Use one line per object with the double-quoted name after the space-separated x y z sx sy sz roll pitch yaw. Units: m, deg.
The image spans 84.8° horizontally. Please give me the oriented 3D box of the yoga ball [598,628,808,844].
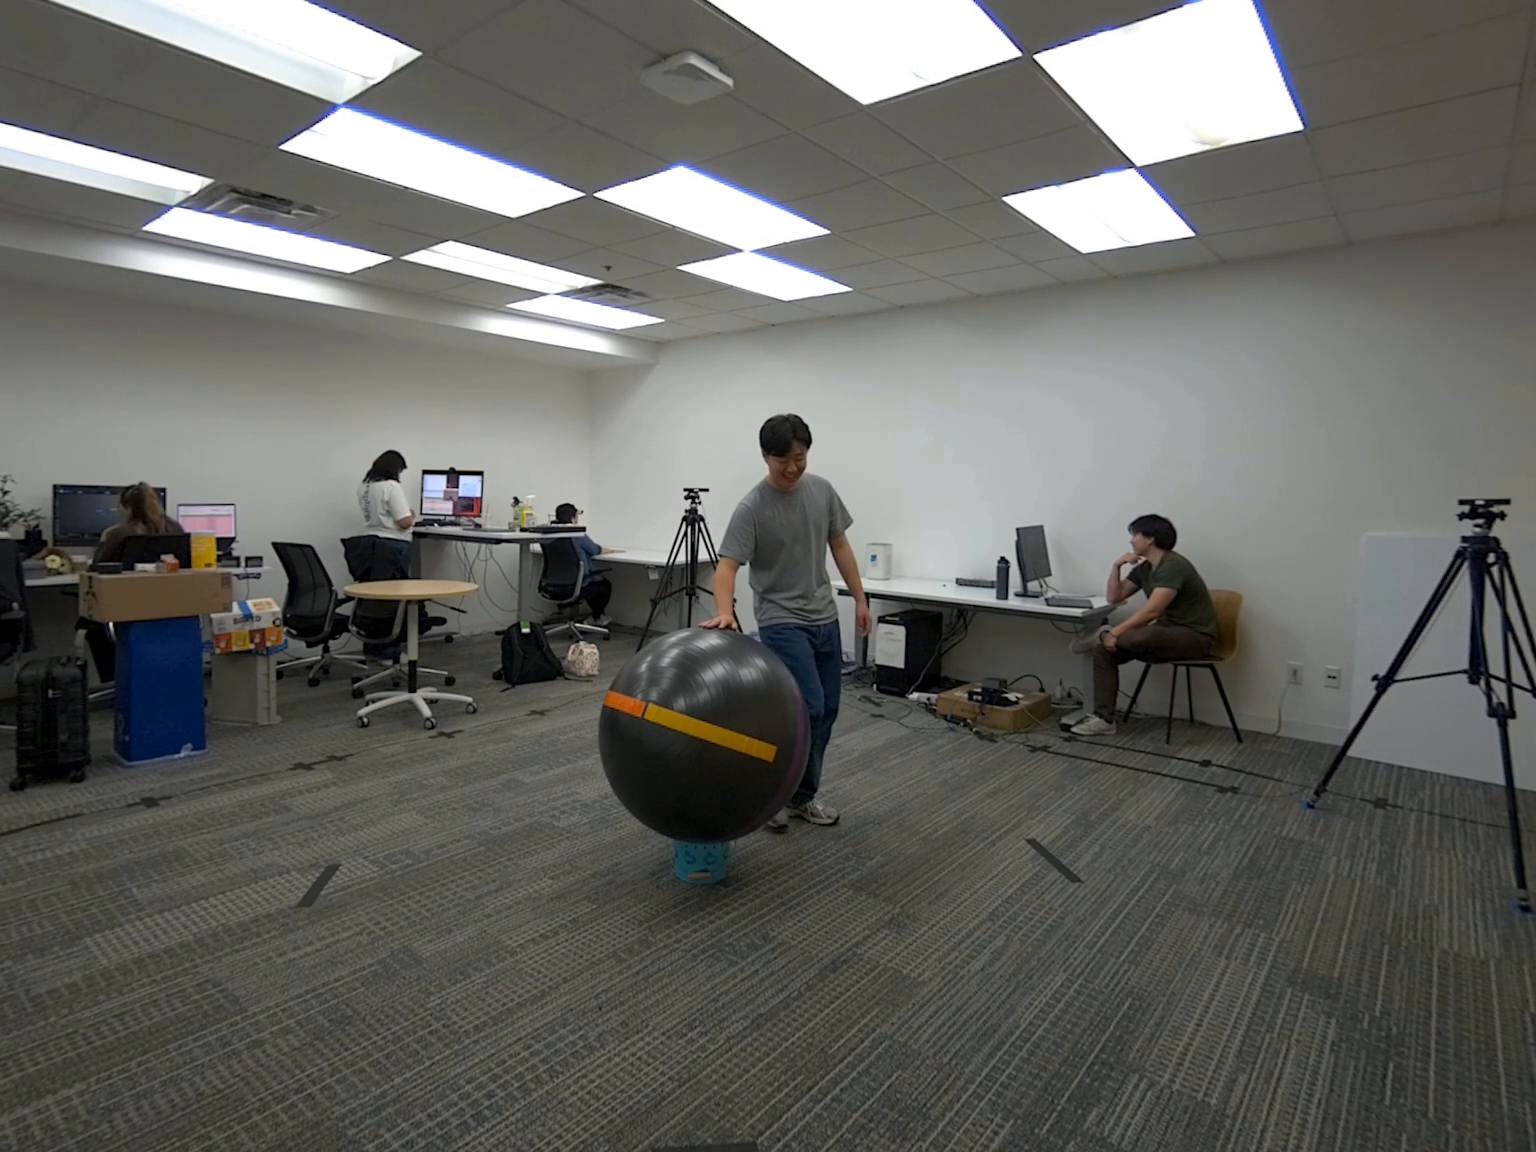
-0.243 0.559 3.064 0.757 0.755 0.762 1 4 -2 "yoga ball"
